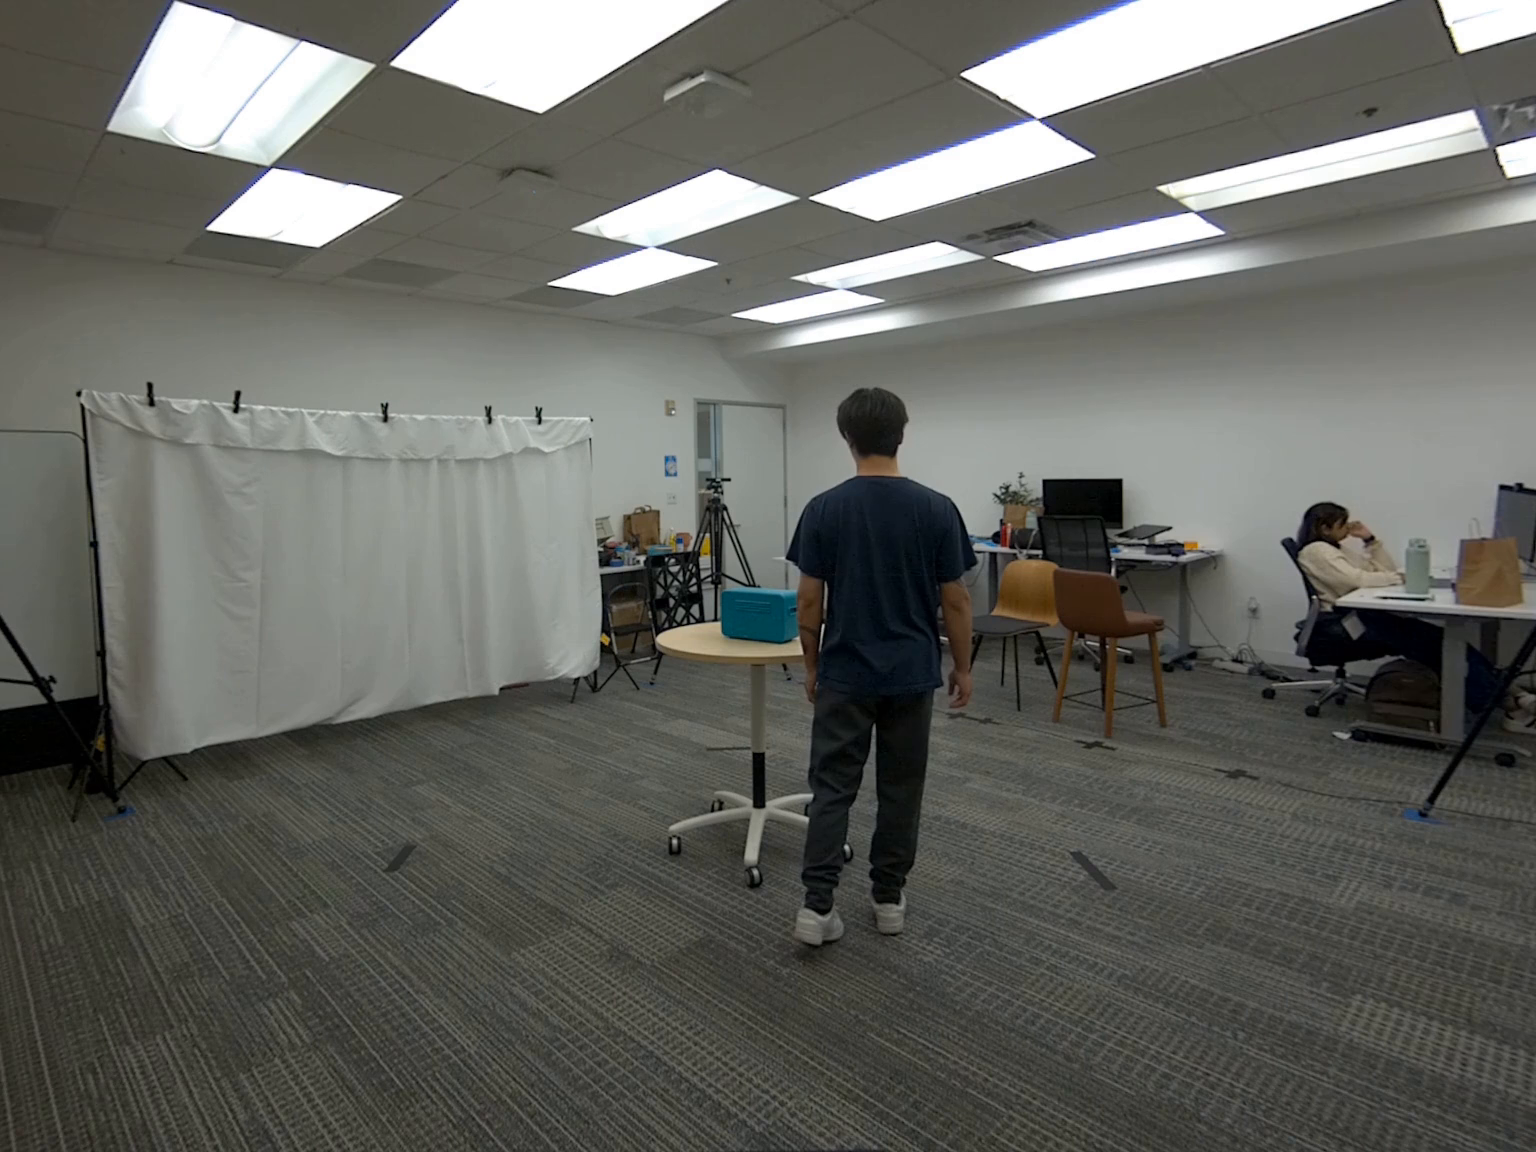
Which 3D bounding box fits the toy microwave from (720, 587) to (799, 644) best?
[{"bbox_3d":[-0.023,0.142,3.185,0.294,0.183,0.148,3,5,35],"label":"toy microwave"}]
